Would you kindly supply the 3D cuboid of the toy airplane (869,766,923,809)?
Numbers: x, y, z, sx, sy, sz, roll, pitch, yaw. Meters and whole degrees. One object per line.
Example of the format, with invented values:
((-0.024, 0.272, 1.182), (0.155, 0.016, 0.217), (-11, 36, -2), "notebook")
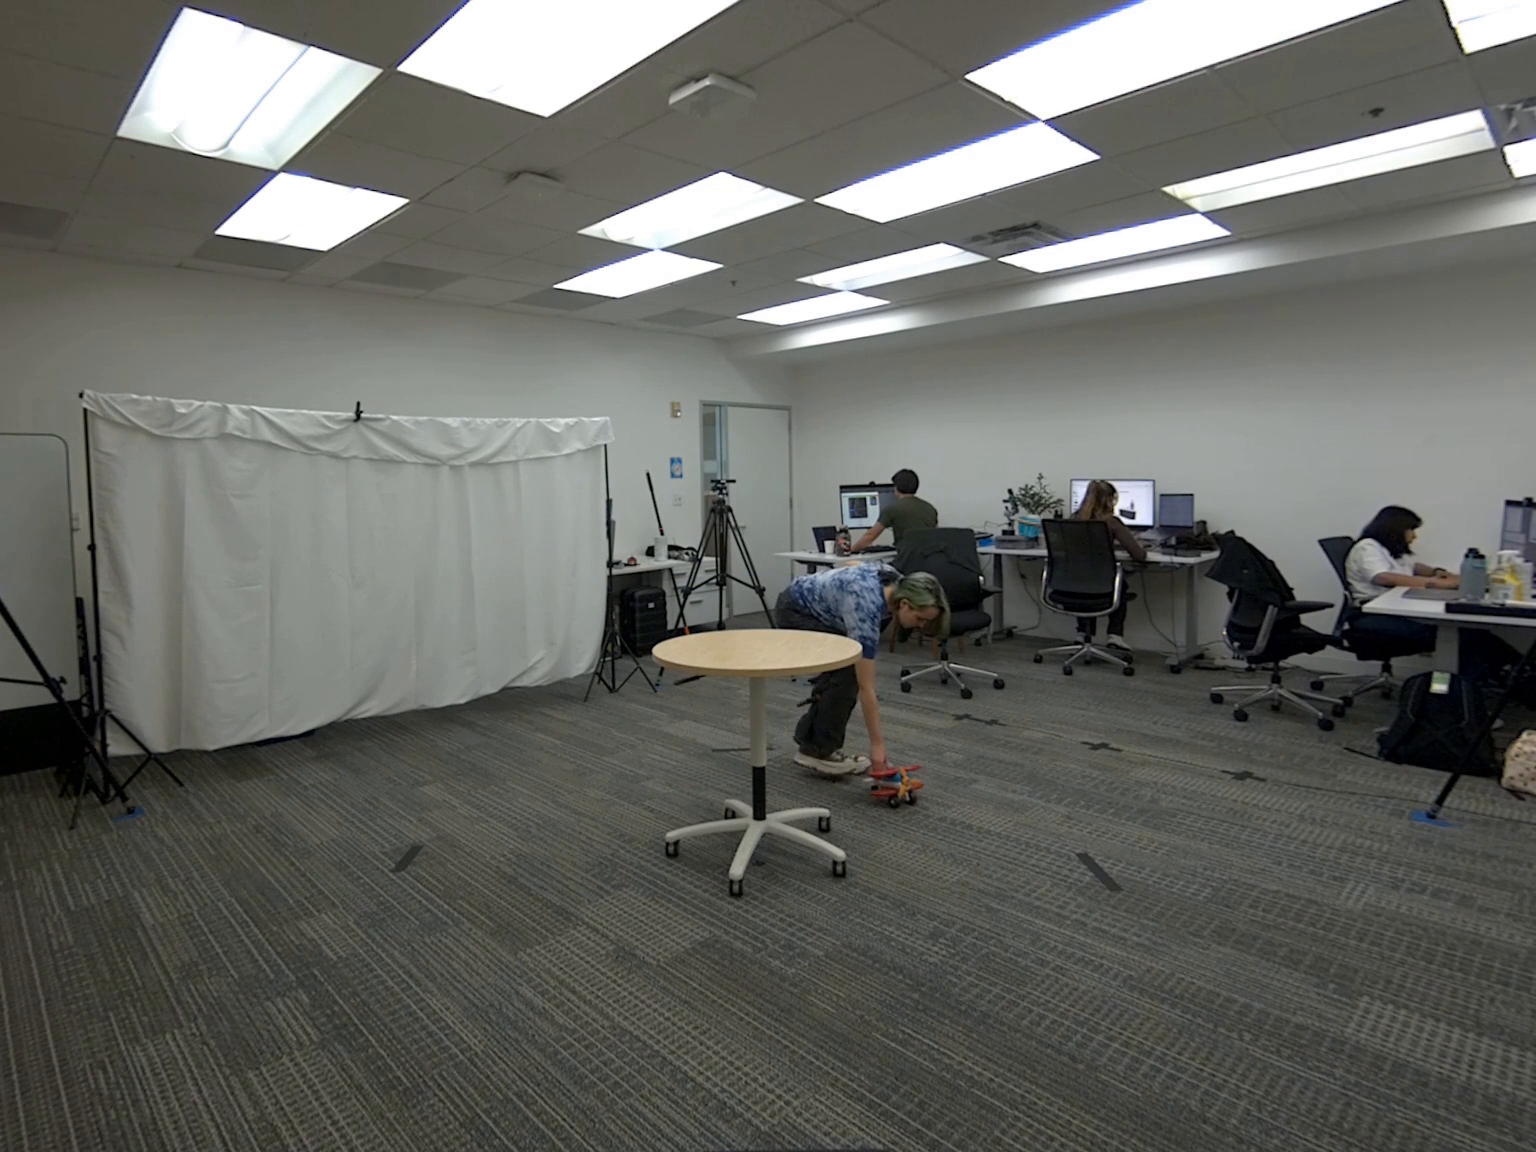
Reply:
((0.519, 0.904, 3.703), (0.267, 0.155, 0.245), (5, 8, 35), "toy airplane")
